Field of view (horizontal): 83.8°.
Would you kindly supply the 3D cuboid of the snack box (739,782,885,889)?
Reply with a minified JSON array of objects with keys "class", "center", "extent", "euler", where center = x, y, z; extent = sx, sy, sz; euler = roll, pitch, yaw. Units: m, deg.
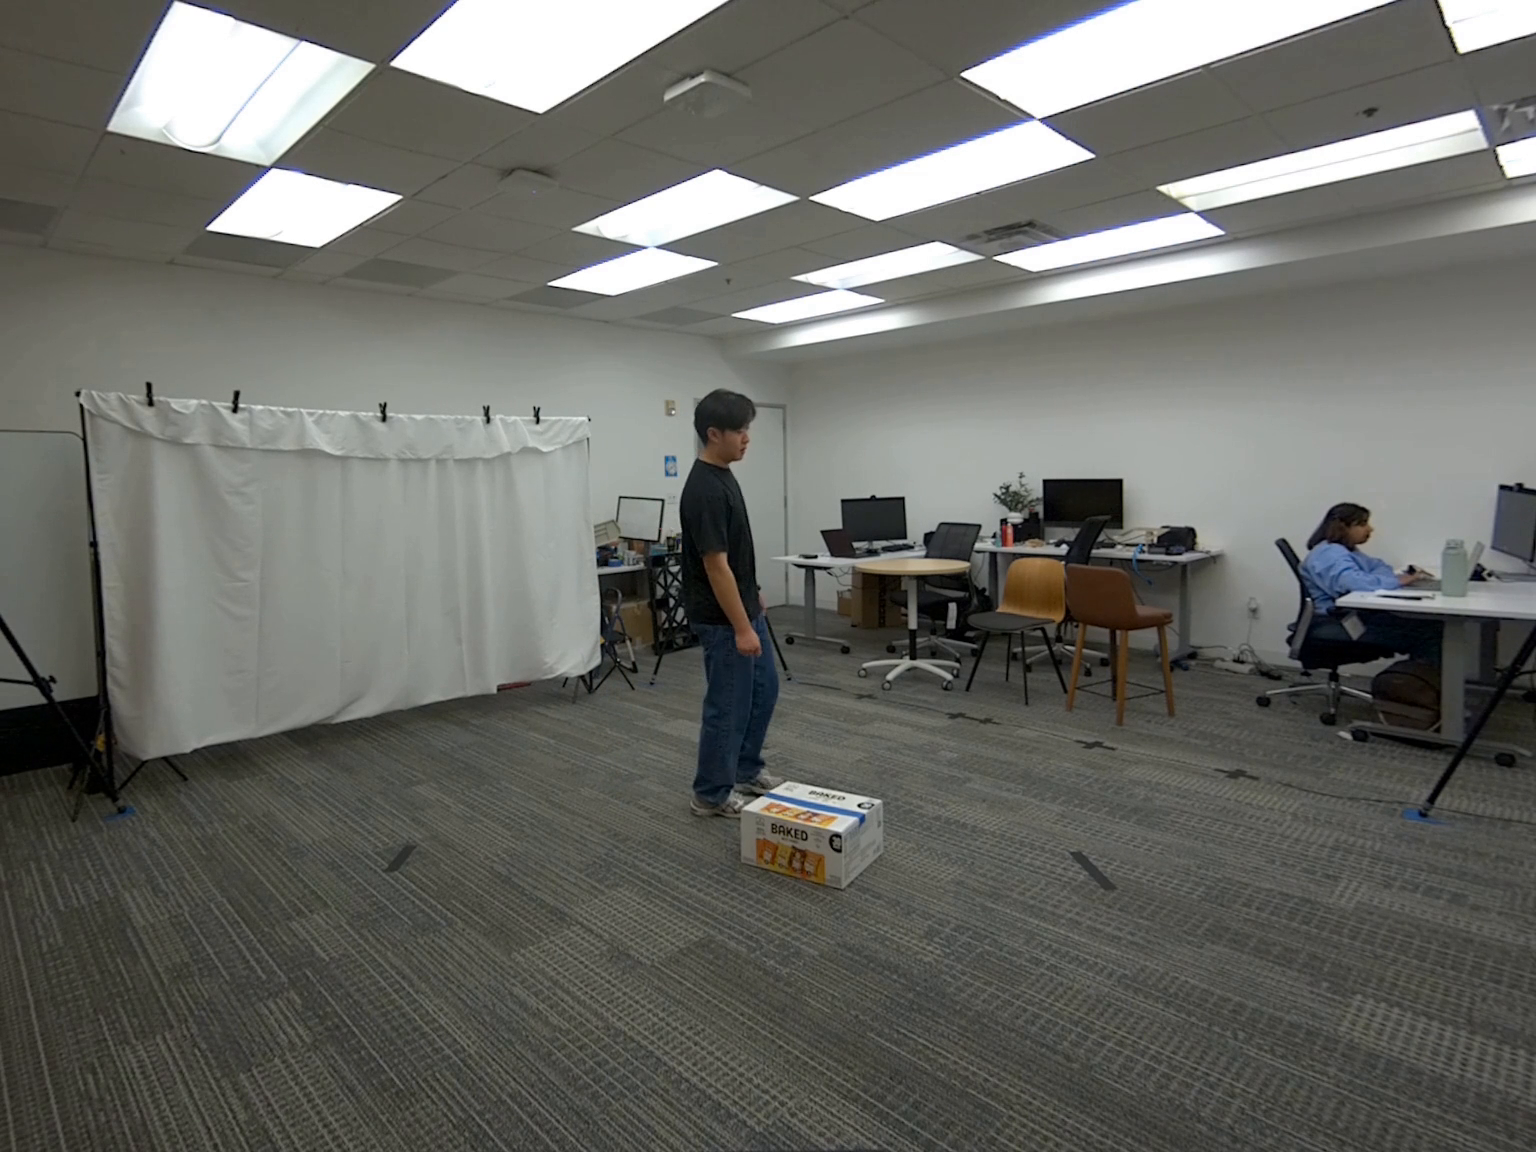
[{"class":"snack box","center":[0.169,0.935,3.121],"extent":[0.416,0.205,0.332],"euler":[2,6,32]}]
